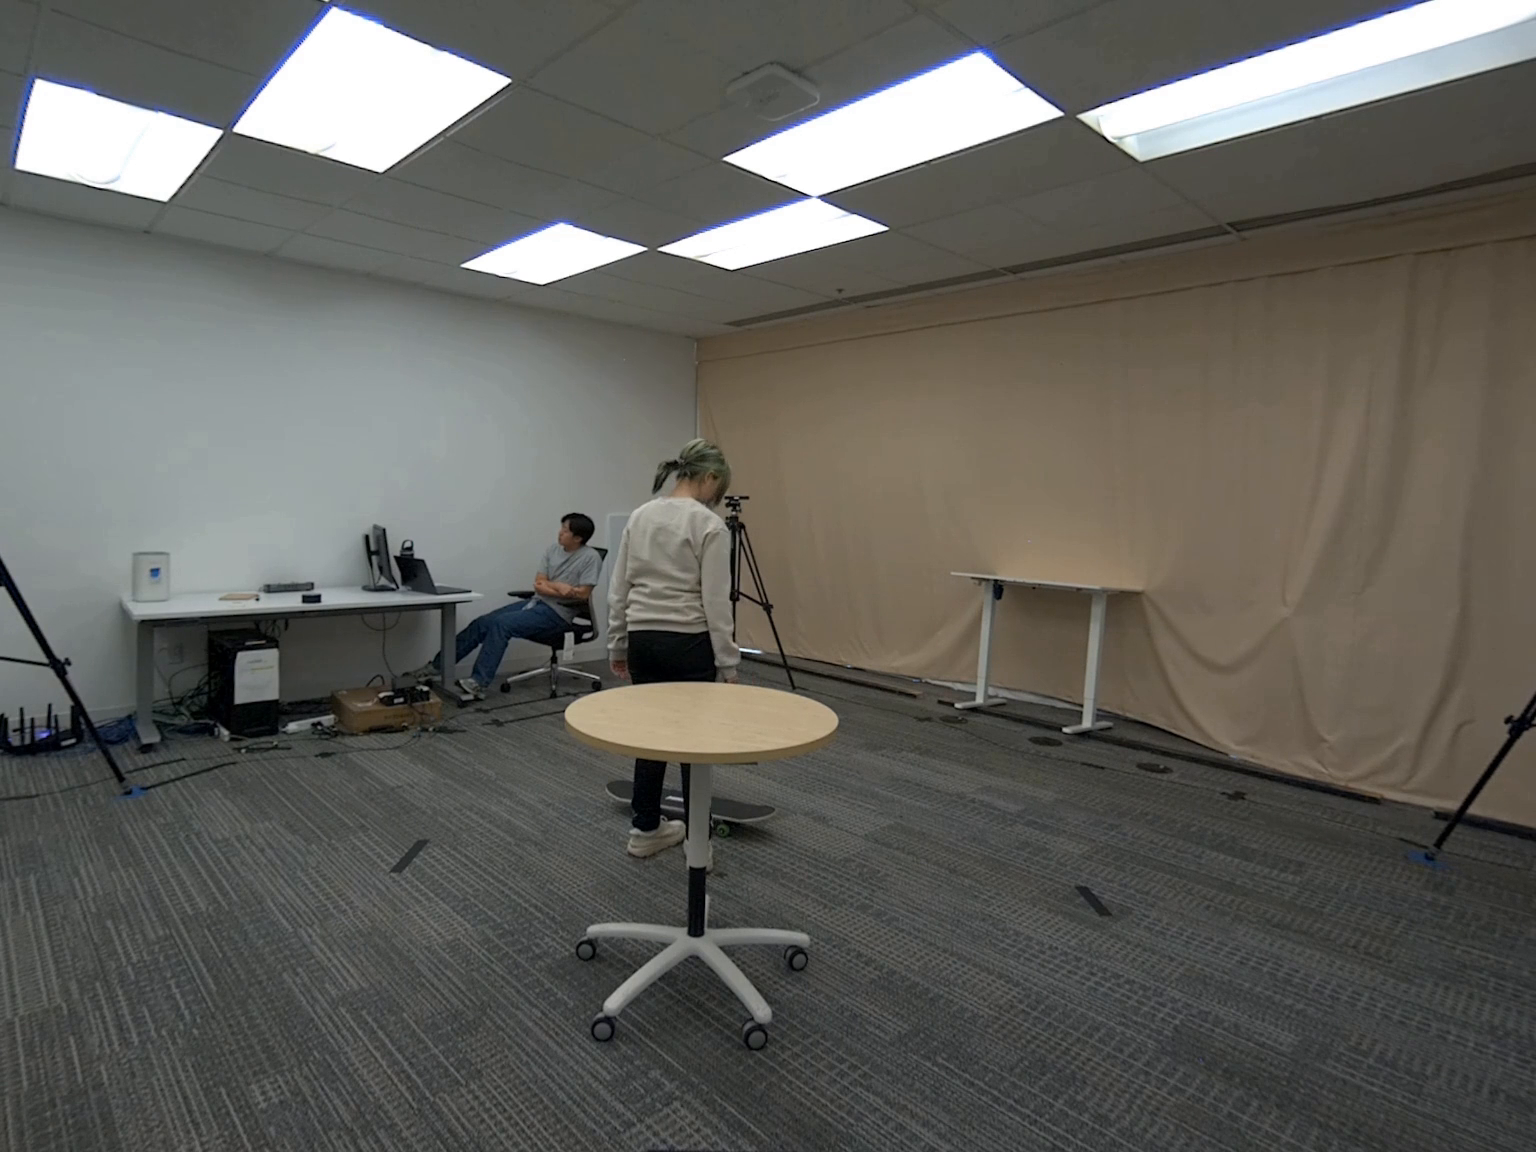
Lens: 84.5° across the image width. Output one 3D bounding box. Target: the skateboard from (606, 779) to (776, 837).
[{"bbox_3d":[-0.357,0.996,3.611,0.800,0.110,0.190,4,5,23],"label":"skateboard"}]
